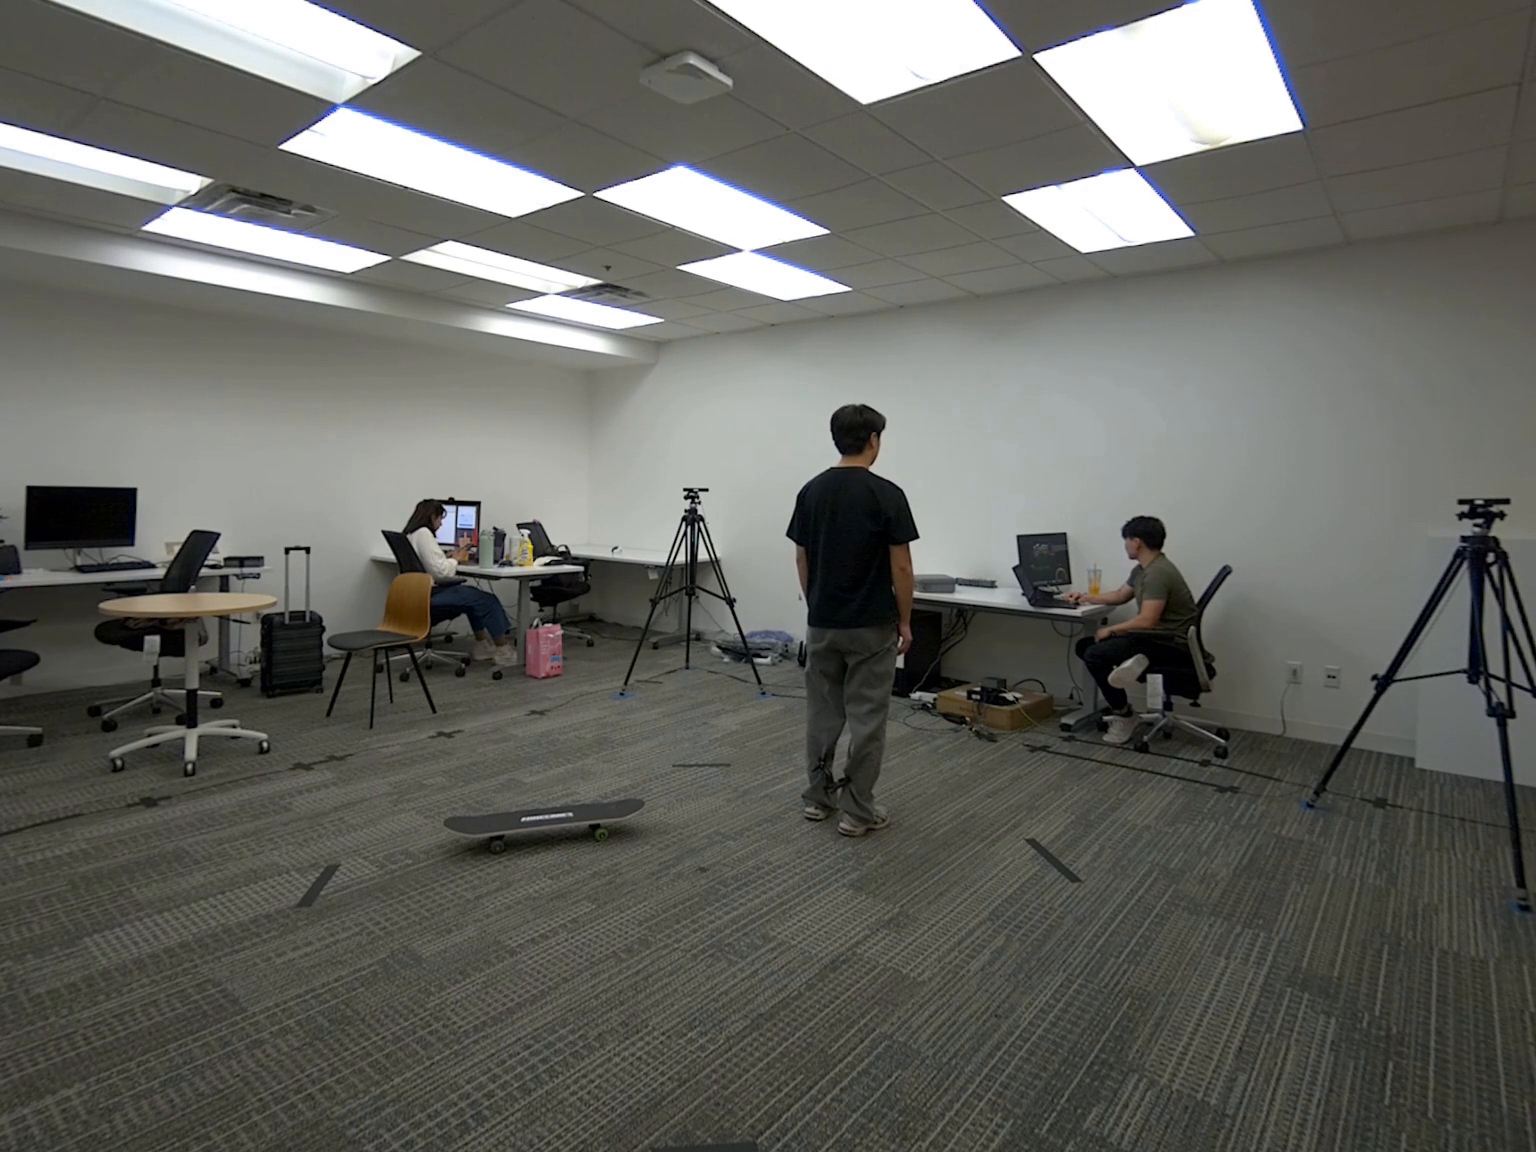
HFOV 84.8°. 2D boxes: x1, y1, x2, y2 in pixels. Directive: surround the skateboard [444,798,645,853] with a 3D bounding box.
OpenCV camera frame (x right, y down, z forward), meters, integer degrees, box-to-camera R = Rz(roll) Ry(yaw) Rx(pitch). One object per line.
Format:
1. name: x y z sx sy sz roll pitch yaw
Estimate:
1. skateboard: -0.878 0.978 3.353 0.770 0.110 0.198 -1 5 -20
